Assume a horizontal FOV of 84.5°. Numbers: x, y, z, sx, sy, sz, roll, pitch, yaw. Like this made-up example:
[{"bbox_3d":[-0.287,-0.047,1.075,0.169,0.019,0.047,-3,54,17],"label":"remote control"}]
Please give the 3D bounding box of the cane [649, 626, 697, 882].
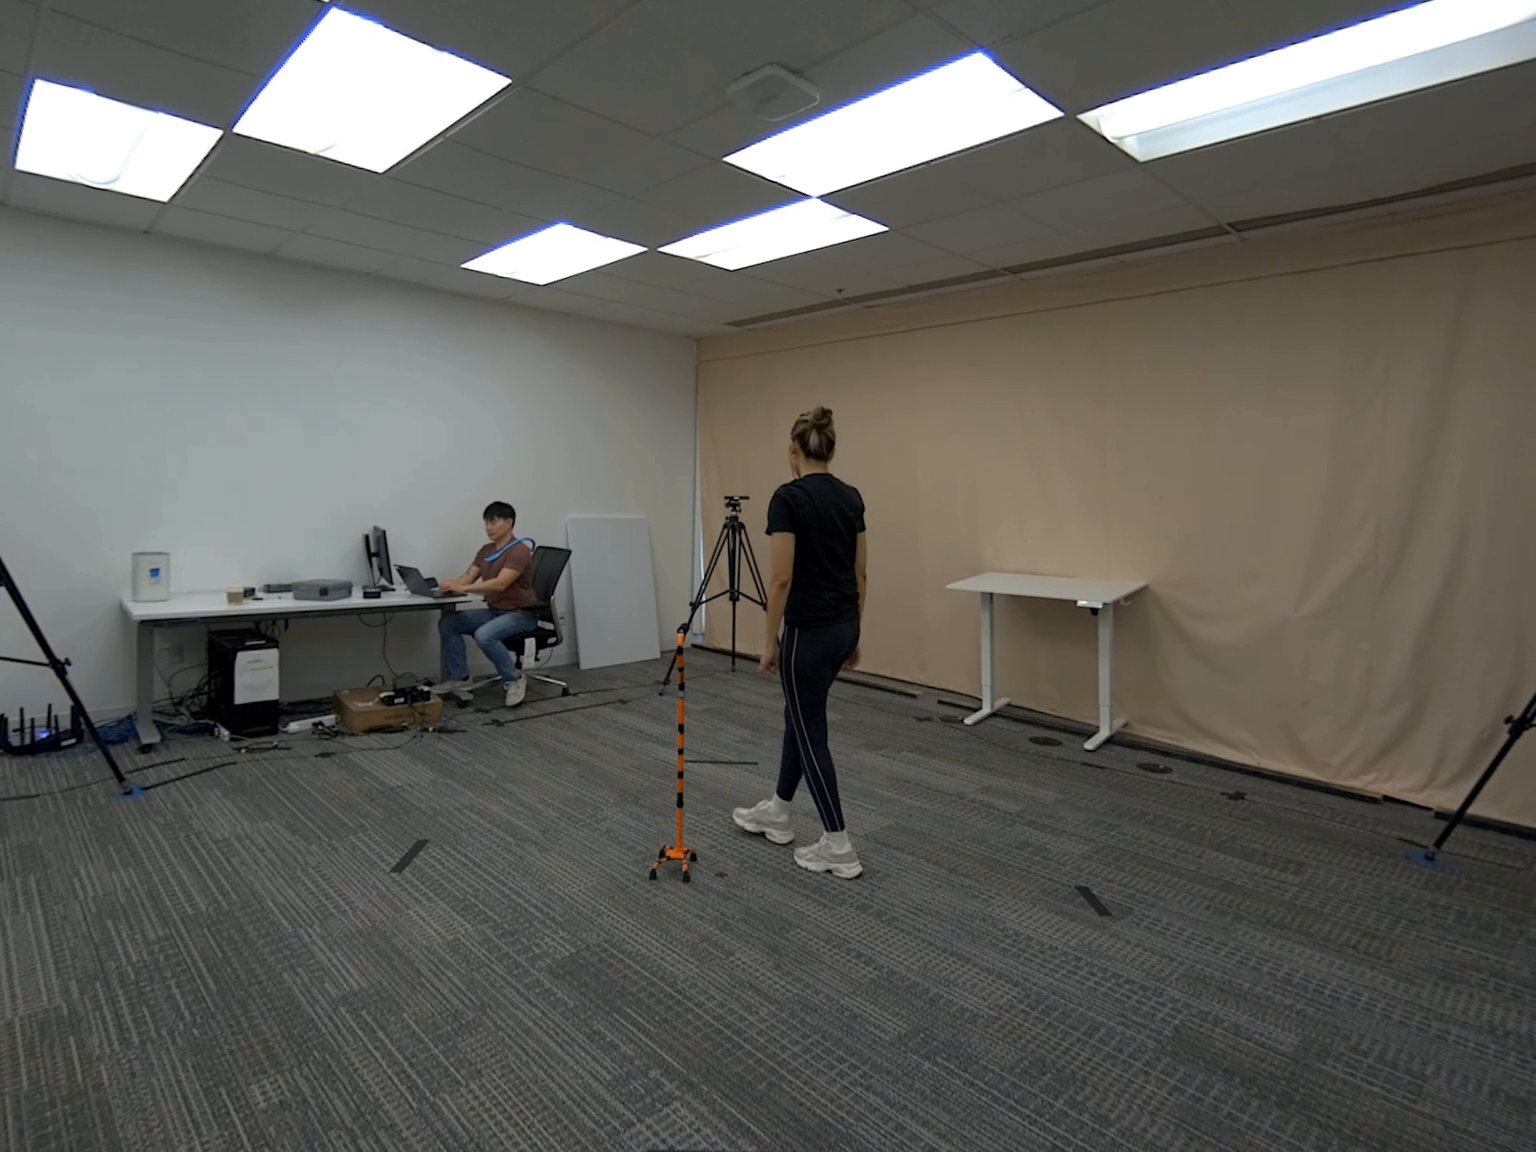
[{"bbox_3d":[-0.342,0.647,3.116,0.152,0.906,0.206,2,3,3],"label":"cane"}]
